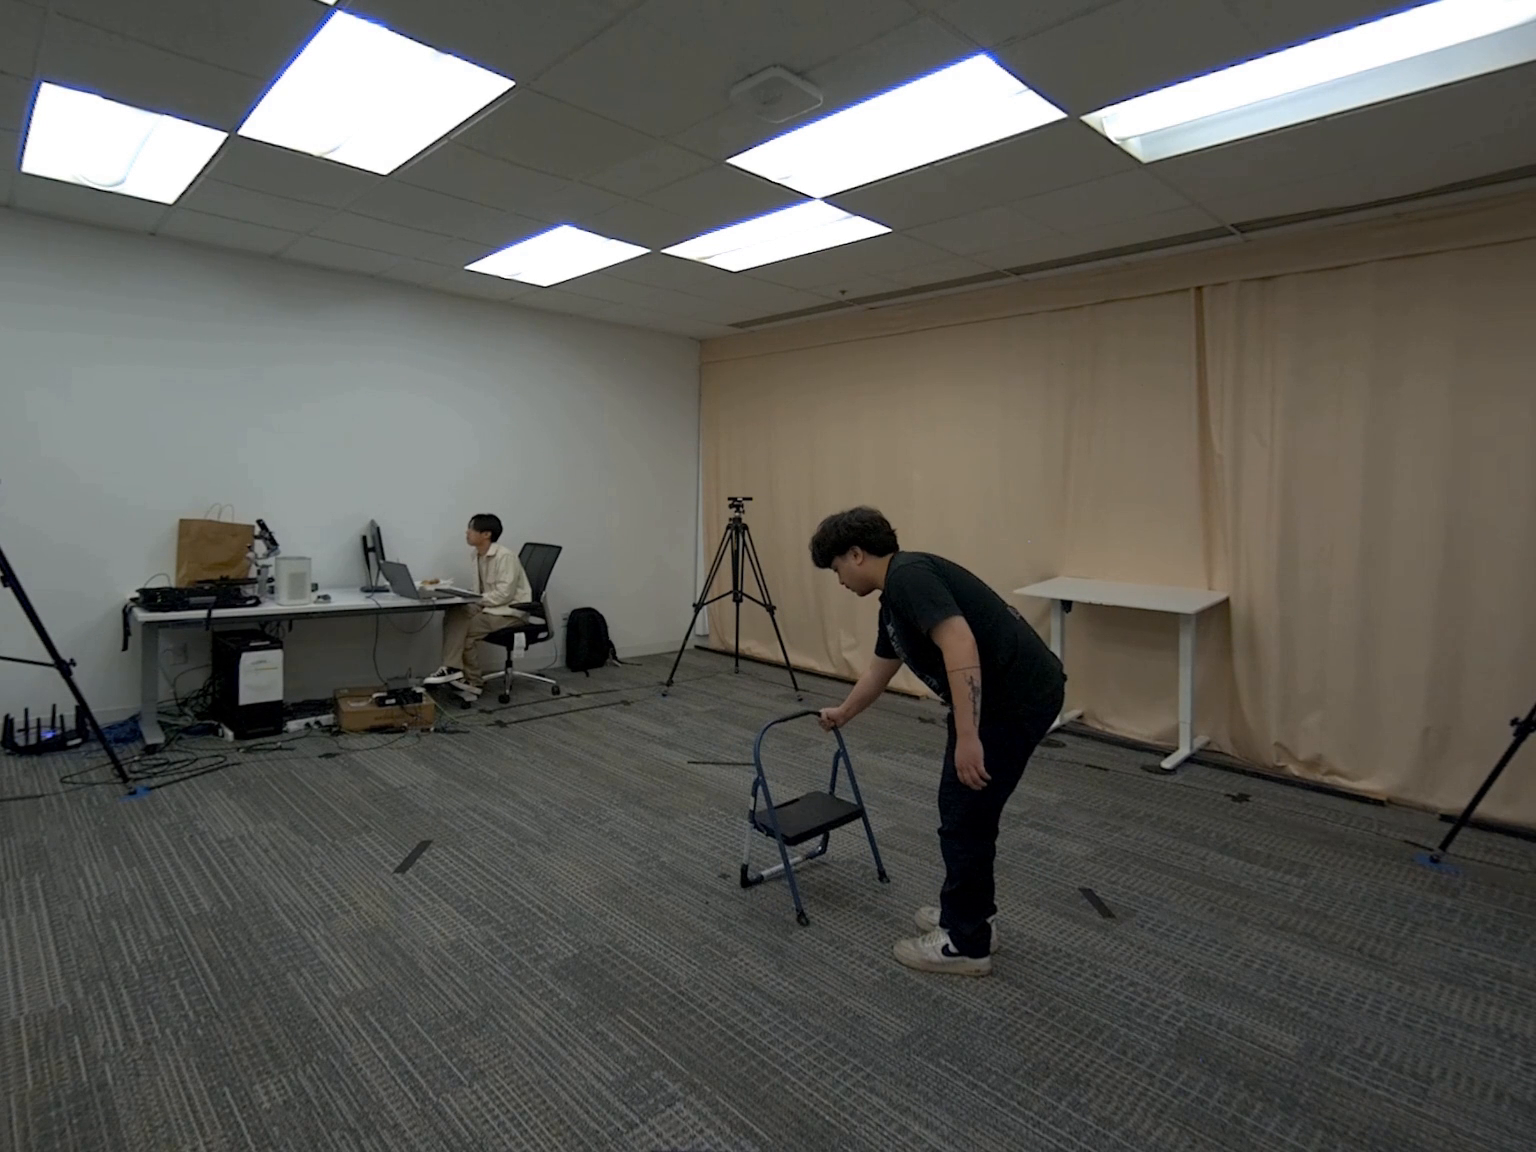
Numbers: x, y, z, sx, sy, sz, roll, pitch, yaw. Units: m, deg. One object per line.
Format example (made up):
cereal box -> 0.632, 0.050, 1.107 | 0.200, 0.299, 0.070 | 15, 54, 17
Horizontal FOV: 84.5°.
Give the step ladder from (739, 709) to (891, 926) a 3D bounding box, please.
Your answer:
step ladder -> 0.139, 0.799, 2.984 | 0.422, 0.603, 0.358 | -7, 7, -40
